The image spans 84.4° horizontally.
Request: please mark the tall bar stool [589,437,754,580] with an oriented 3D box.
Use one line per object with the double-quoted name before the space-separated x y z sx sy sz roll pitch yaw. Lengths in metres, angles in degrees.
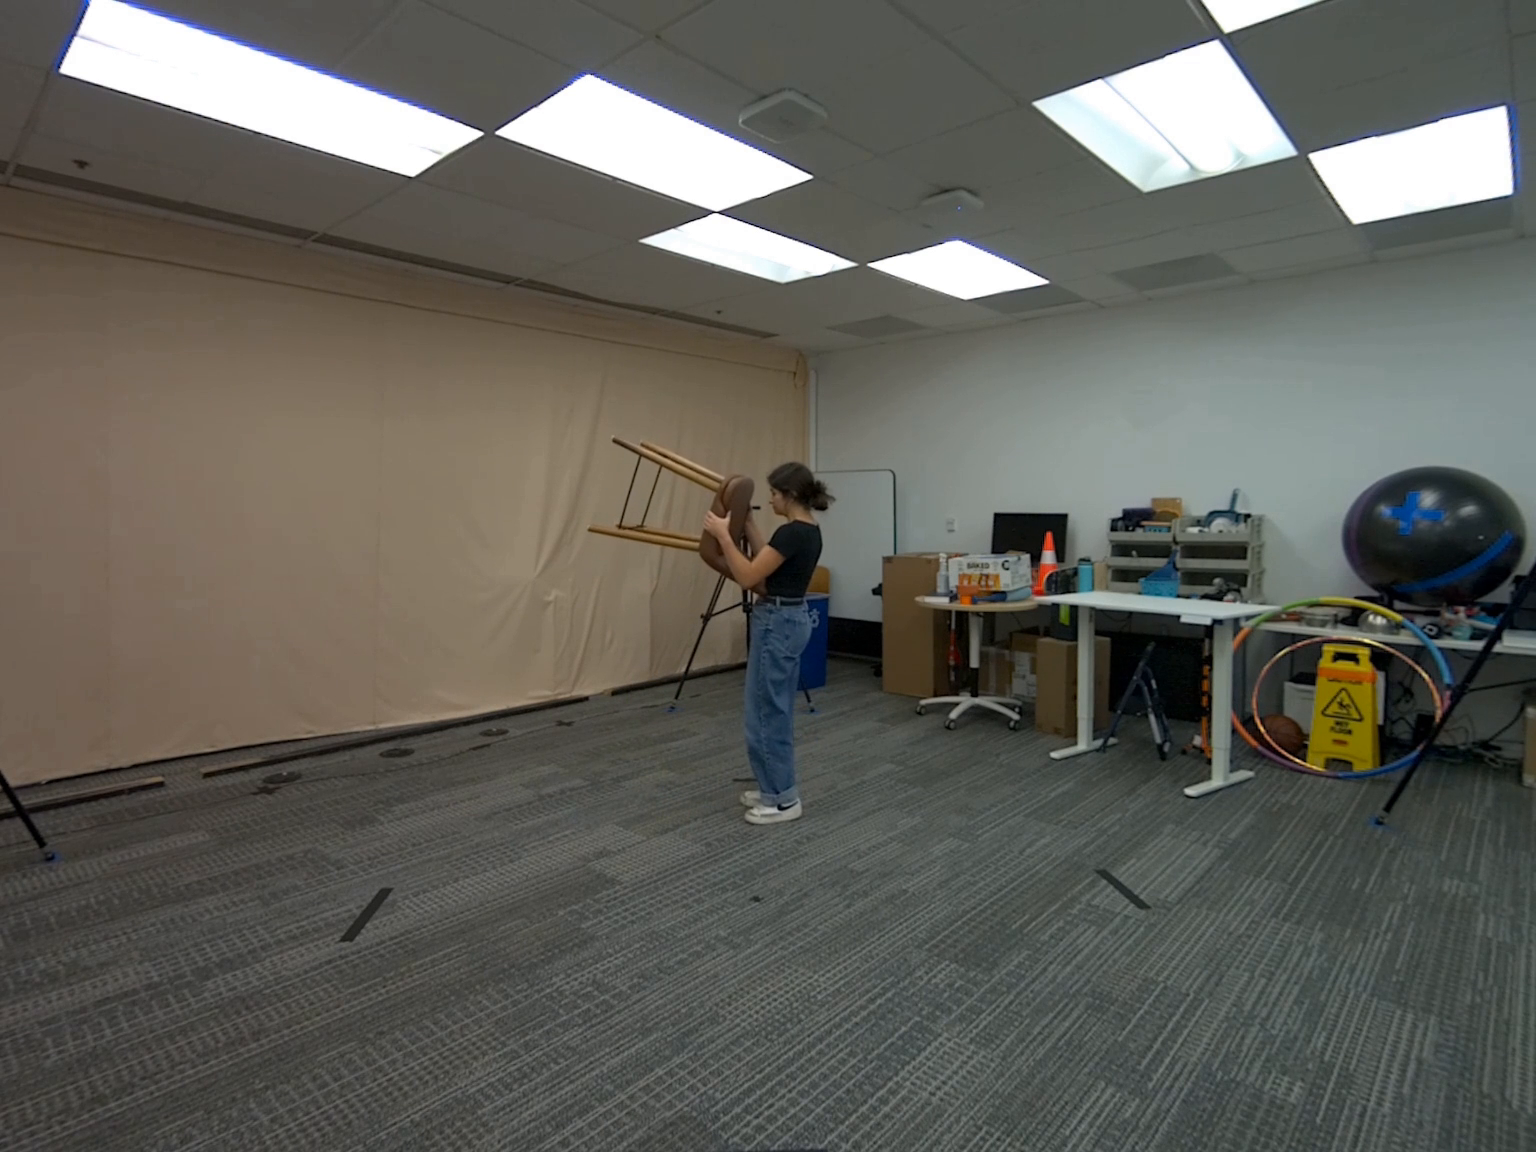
"tall bar stool" -0.318 -0.279 3.901 0.904 0.466 0.450 22 9 13
